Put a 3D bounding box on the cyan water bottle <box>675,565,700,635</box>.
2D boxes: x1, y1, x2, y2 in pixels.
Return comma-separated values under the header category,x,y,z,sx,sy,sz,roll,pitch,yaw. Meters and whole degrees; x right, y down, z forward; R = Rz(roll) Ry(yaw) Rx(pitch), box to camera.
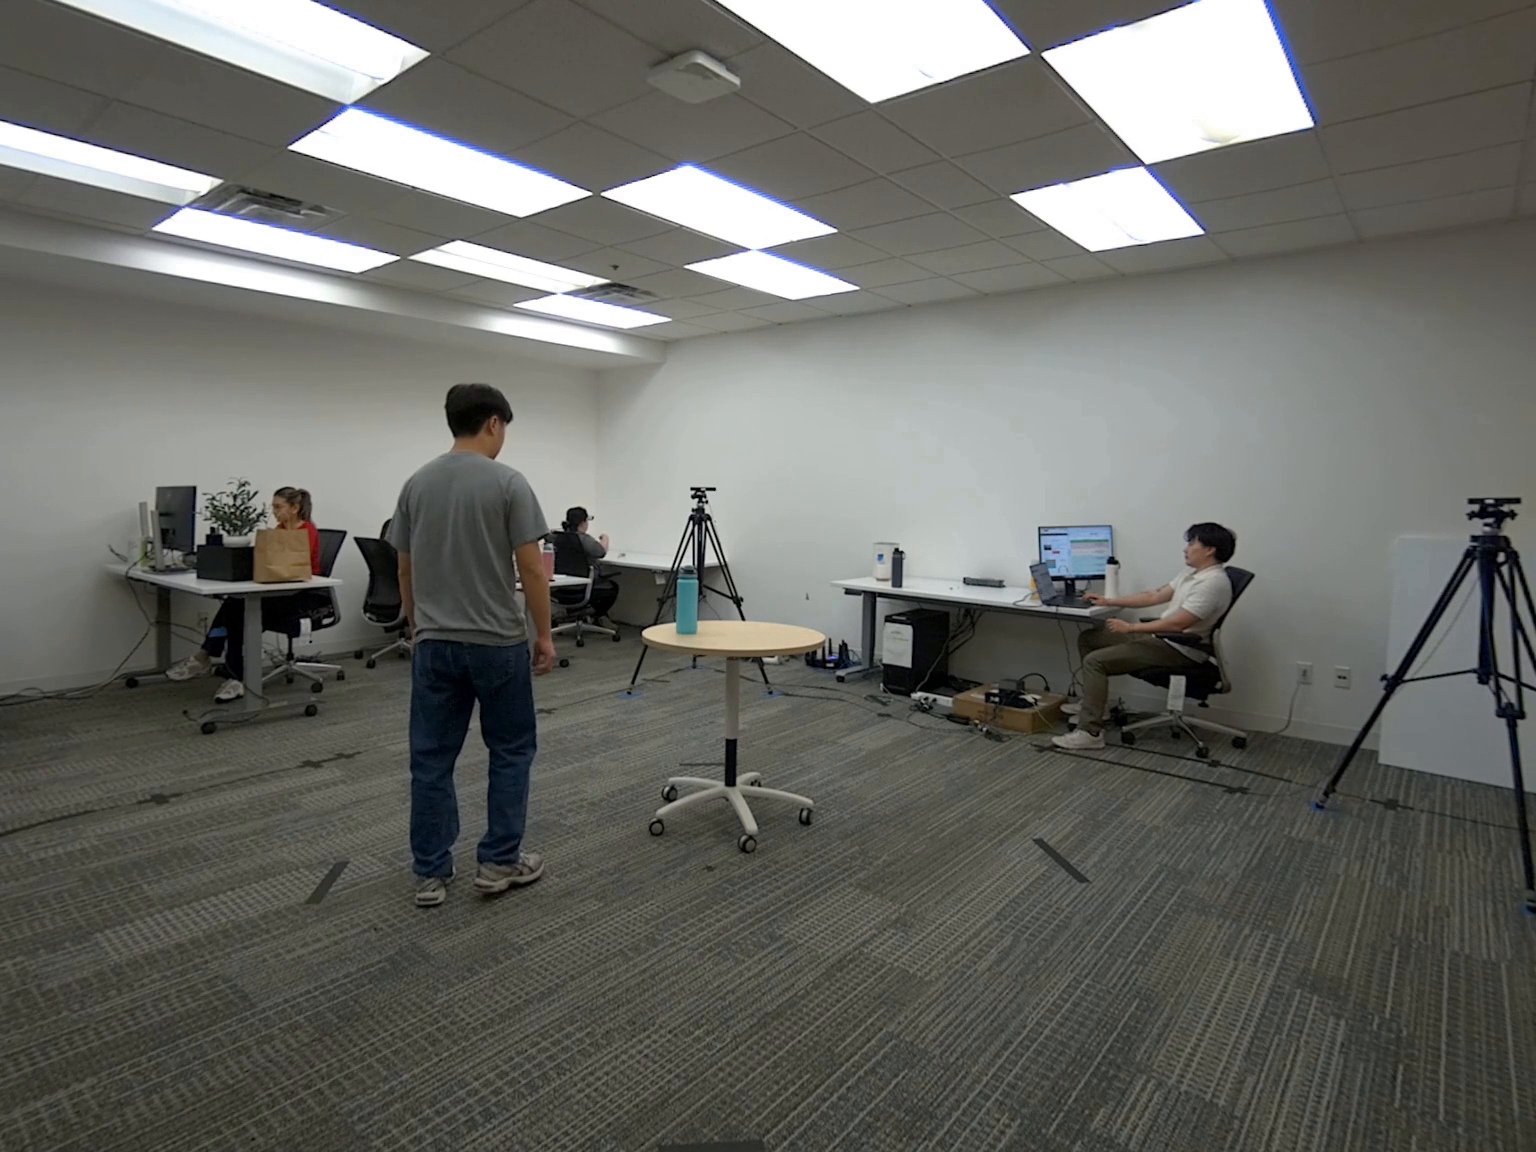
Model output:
category,x,y,z,sx,sy,sz,roll,pitch,yaw
cyan water bottle,-0.354,0.096,3.570,0.092,0.283,0.092,-1,2,-2
